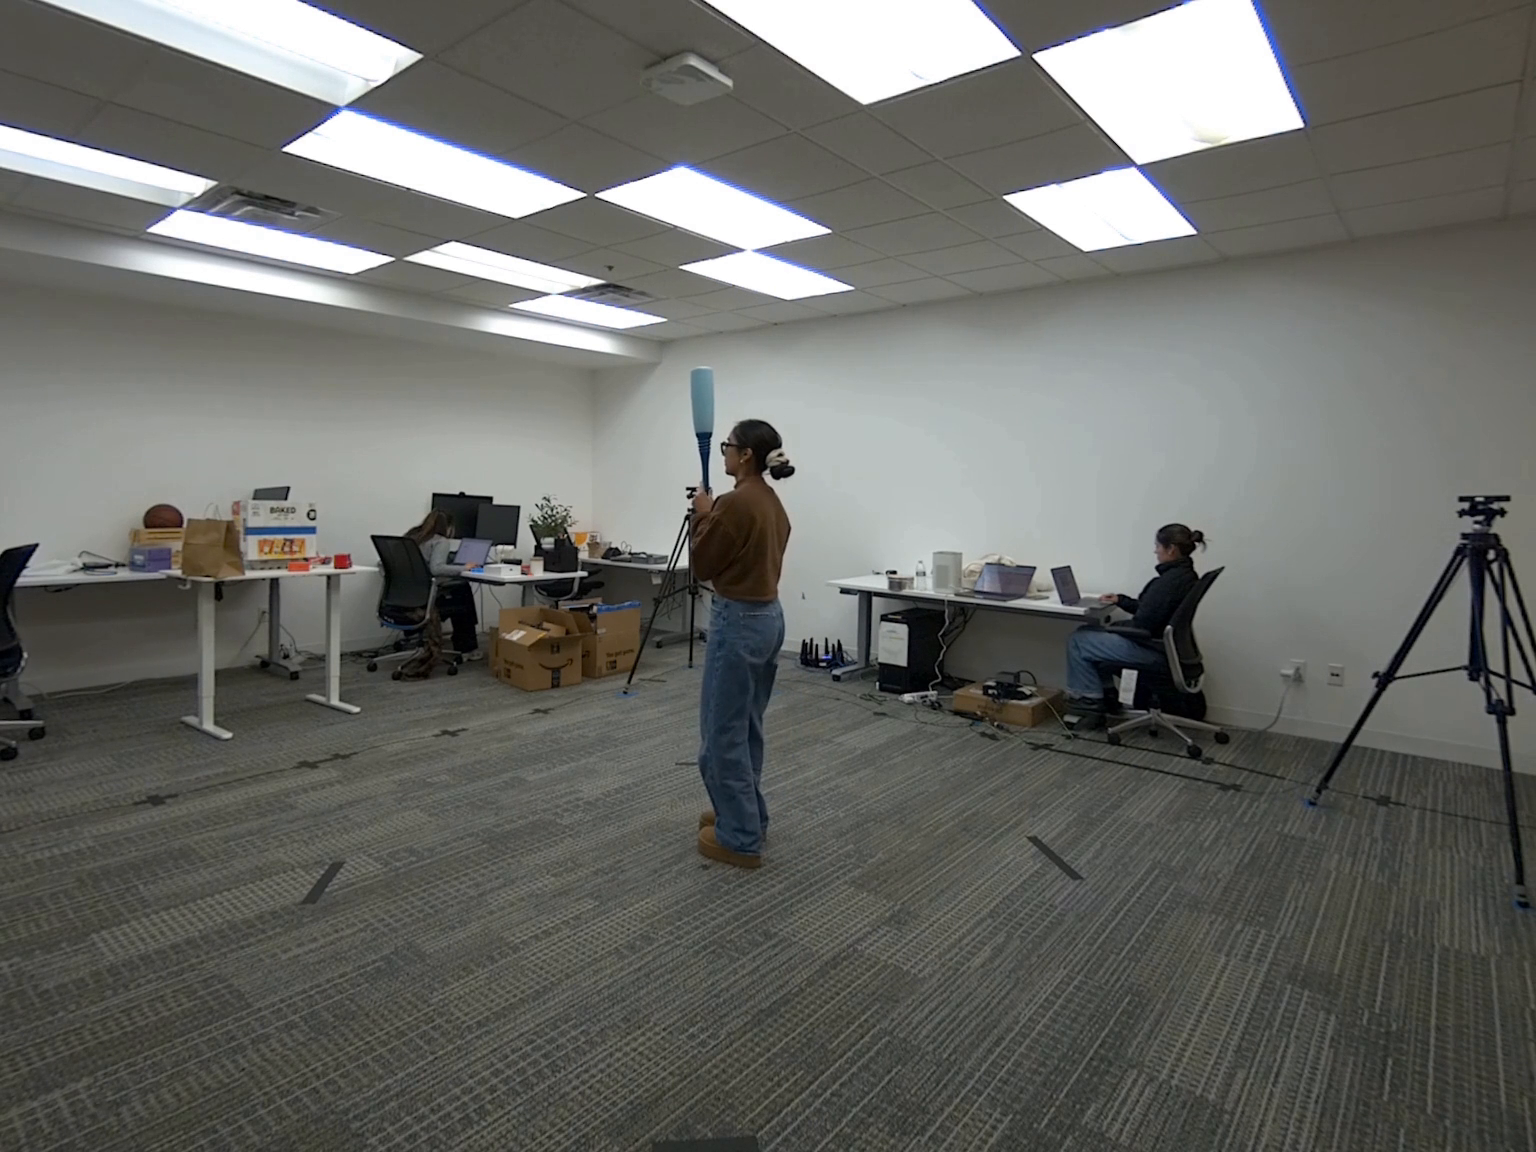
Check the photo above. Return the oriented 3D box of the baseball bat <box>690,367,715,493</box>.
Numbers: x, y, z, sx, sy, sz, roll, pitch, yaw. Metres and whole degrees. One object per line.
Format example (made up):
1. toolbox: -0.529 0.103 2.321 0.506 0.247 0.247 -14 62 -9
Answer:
1. baseball bat: -0.248 -0.540 3.287 0.089 0.541 0.089 -4 3 -1
